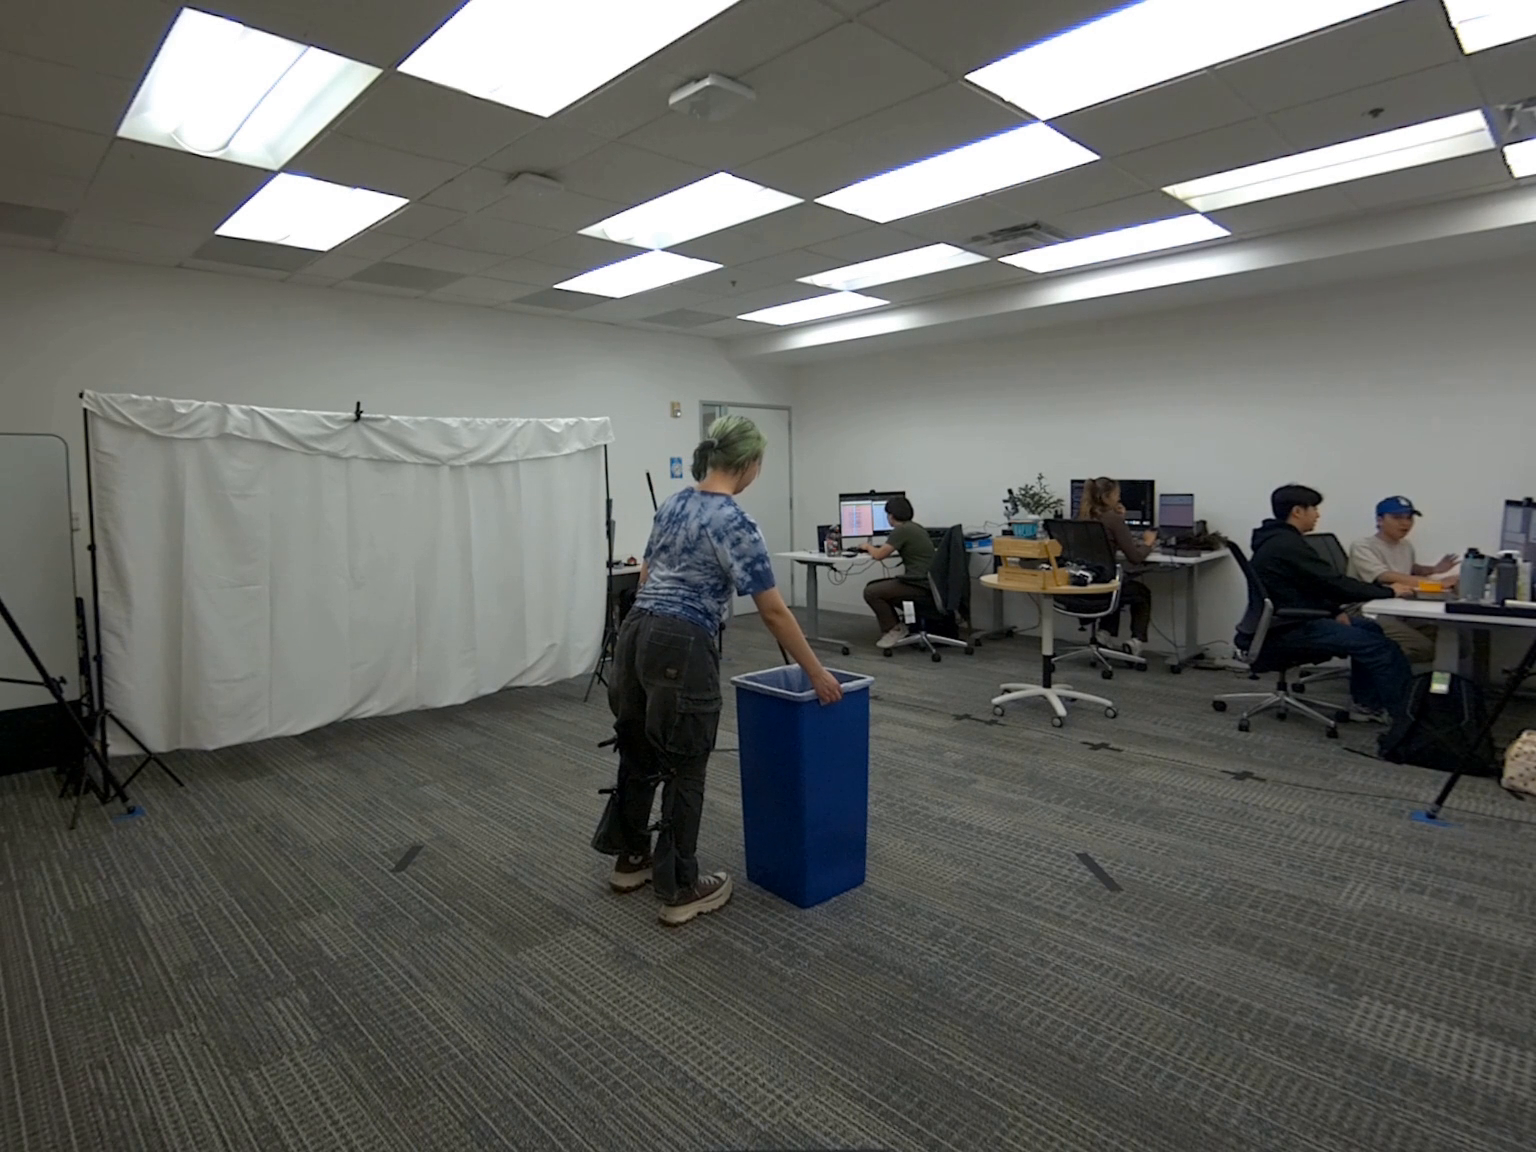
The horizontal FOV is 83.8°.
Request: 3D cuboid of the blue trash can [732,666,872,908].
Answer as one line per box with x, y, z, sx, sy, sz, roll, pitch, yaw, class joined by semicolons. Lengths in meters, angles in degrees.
0.122;0.703;2.961;0.368;0.711;0.385;-4;5;-41;blue trash can
